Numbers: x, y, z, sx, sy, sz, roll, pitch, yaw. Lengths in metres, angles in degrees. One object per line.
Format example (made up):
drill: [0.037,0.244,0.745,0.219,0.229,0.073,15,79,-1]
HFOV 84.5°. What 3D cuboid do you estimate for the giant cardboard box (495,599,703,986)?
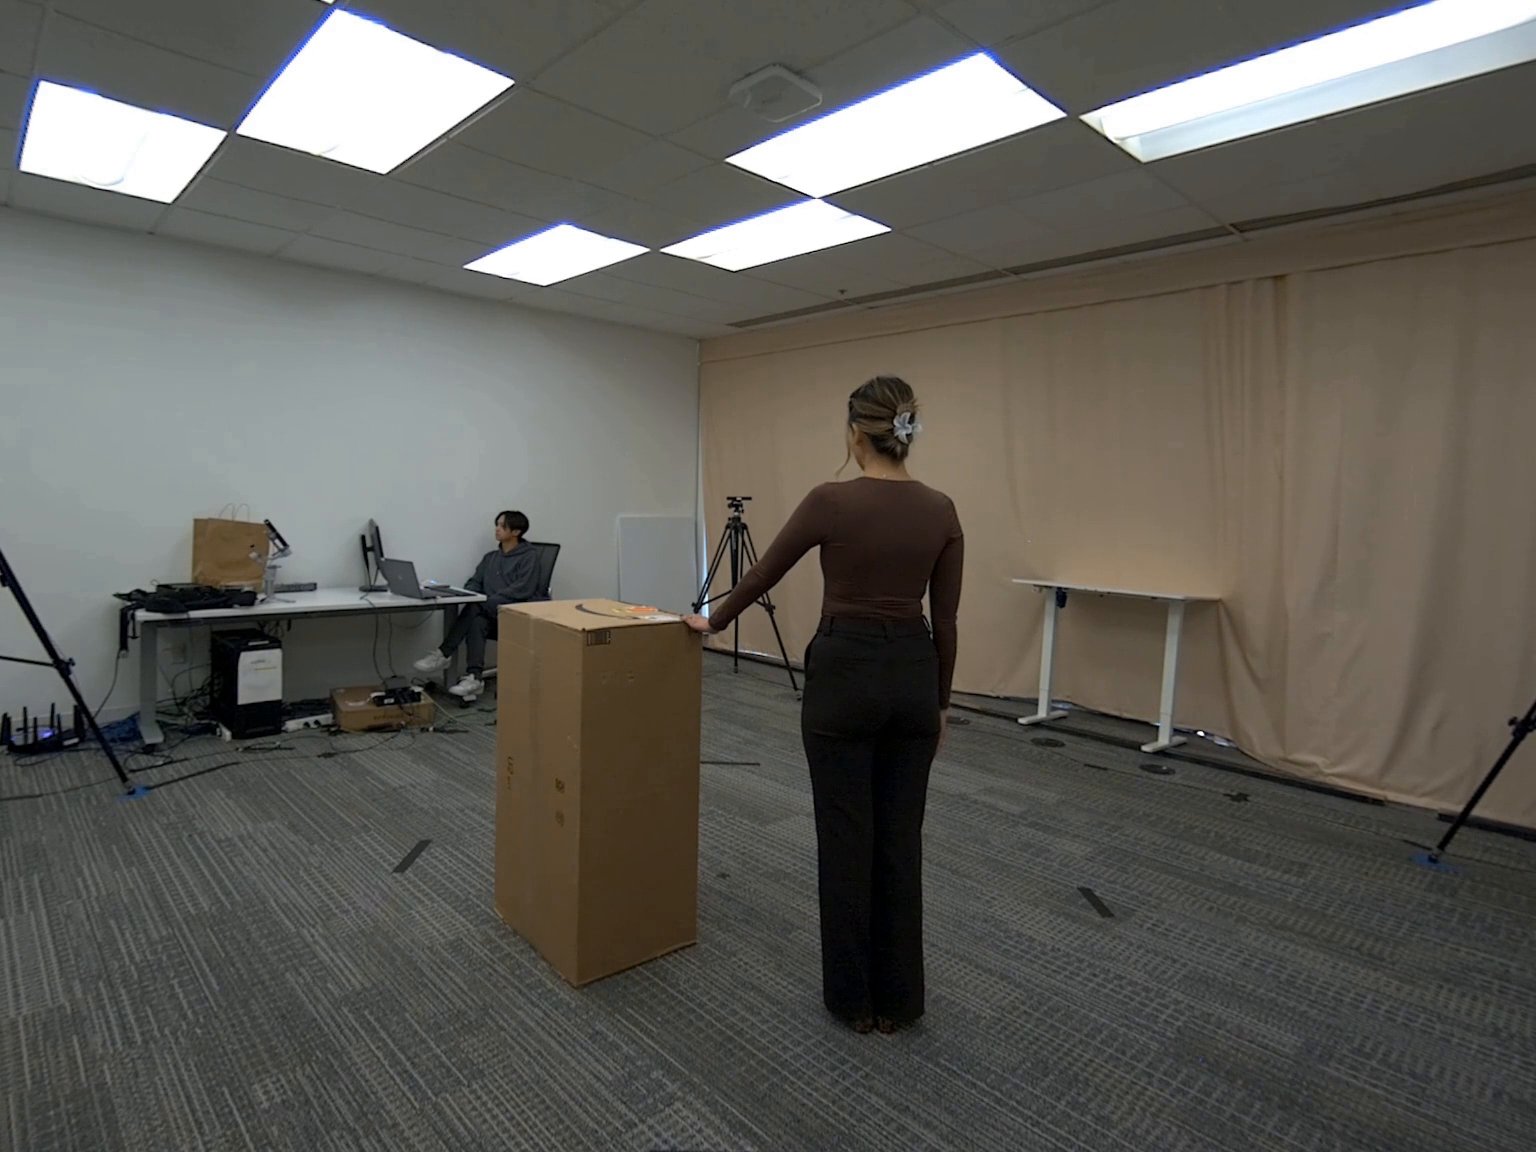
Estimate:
giant cardboard box: [-0.561,0.625,2.696,0.436,1.025,0.598,0,3,-38]
